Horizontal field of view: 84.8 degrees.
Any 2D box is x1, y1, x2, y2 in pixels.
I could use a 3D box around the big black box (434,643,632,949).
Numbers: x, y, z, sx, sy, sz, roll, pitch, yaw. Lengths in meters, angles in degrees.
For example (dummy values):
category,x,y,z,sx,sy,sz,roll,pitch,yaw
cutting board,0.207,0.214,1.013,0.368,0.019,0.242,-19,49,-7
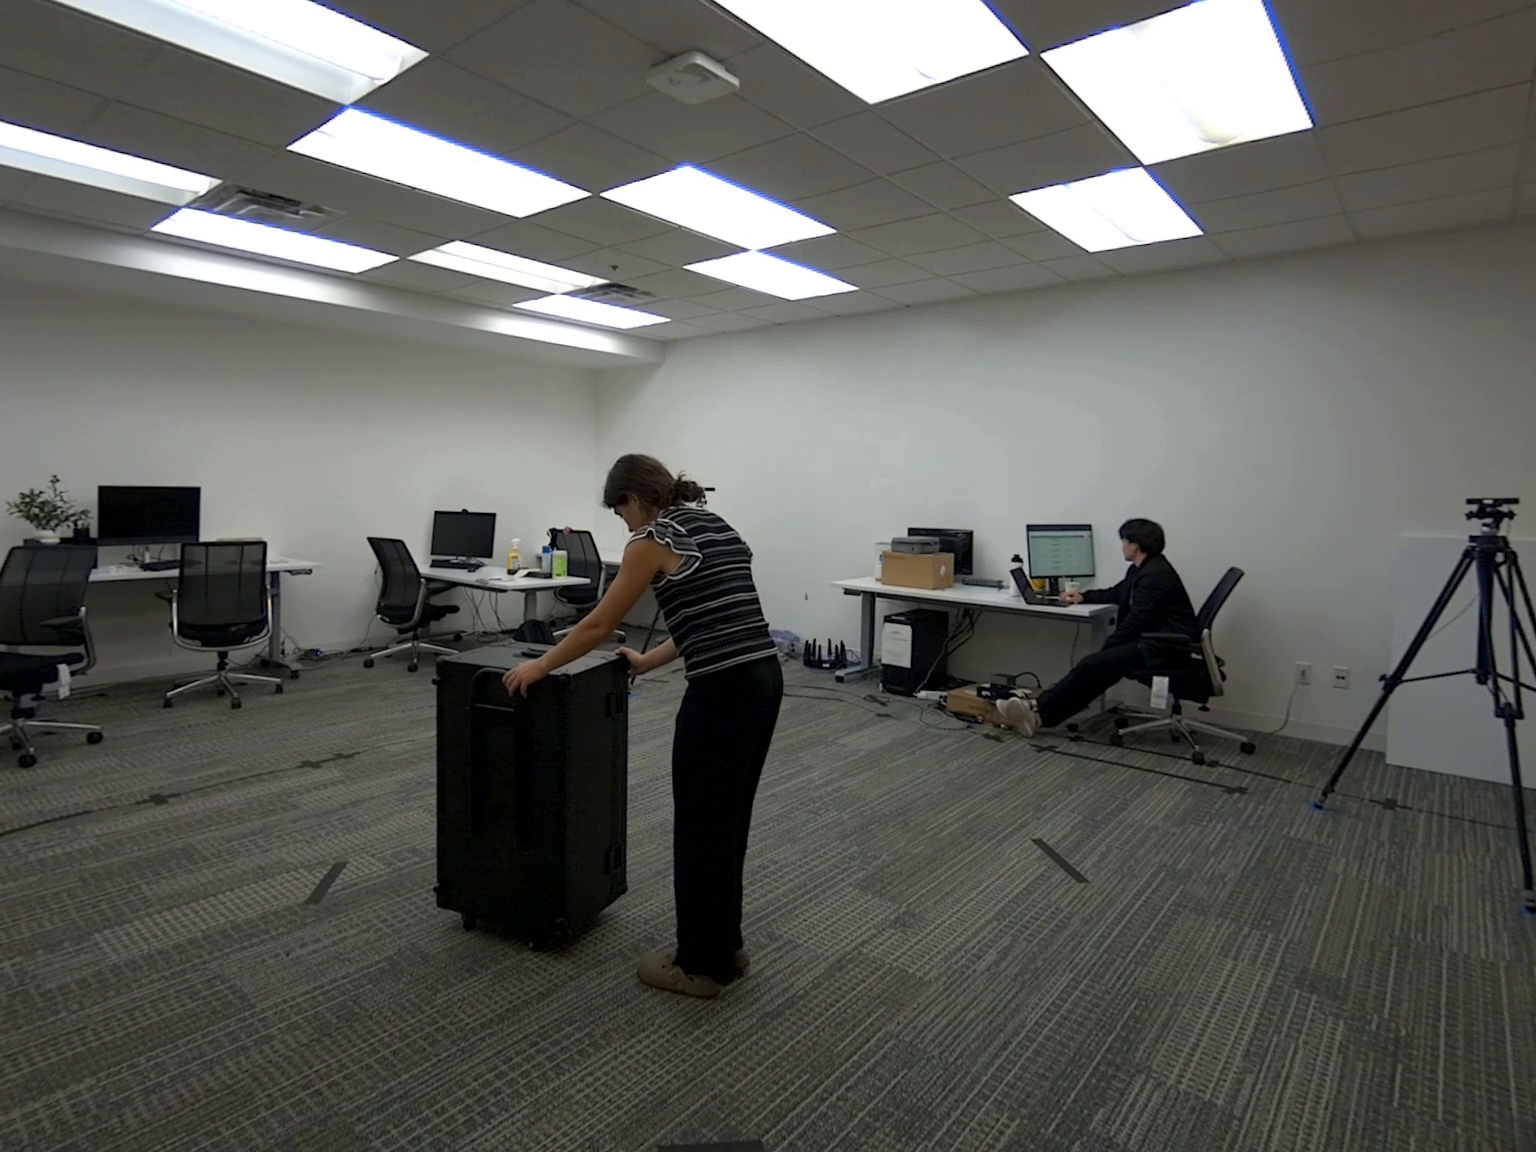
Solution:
category,x,y,z,sx,sy,sz,roll,pitch,yaw
big black box,-0.752,0.680,2.683,0.534,0.858,0.388,3,4,23
